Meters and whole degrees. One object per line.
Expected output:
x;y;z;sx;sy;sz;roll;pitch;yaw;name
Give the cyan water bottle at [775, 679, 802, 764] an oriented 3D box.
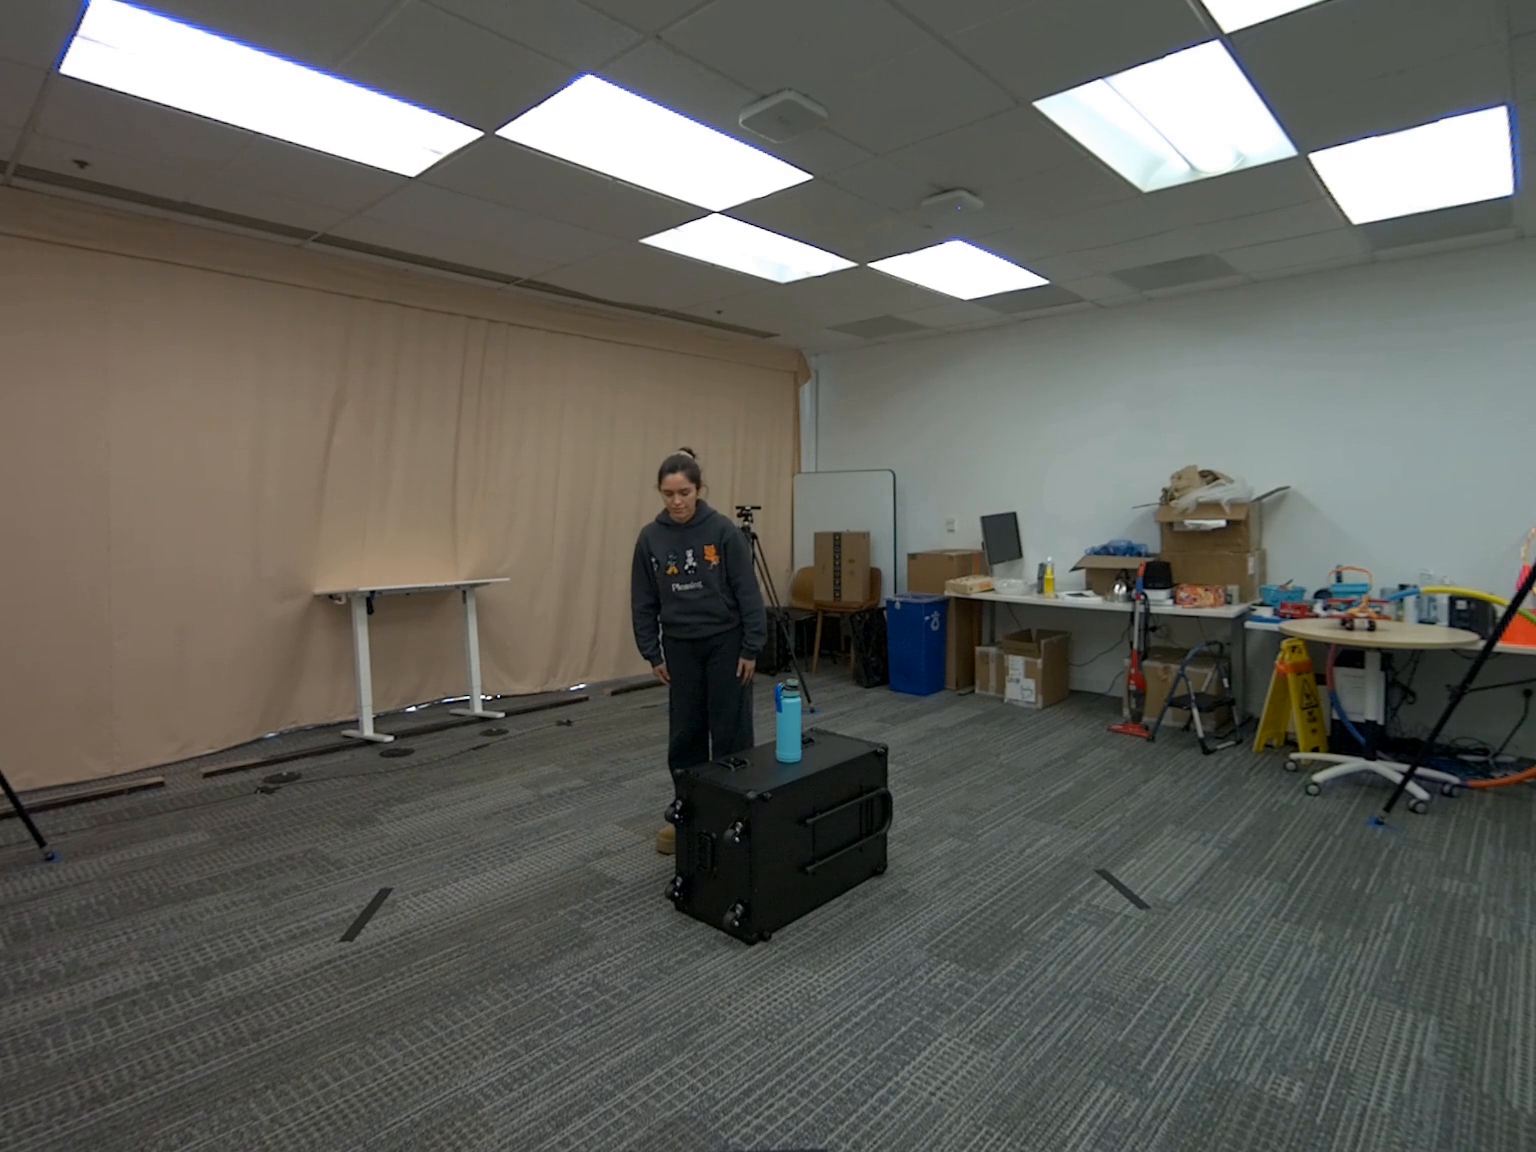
0.093;0.512;3.016;0.092;0.283;0.092;-2;2;-2;cyan water bottle
